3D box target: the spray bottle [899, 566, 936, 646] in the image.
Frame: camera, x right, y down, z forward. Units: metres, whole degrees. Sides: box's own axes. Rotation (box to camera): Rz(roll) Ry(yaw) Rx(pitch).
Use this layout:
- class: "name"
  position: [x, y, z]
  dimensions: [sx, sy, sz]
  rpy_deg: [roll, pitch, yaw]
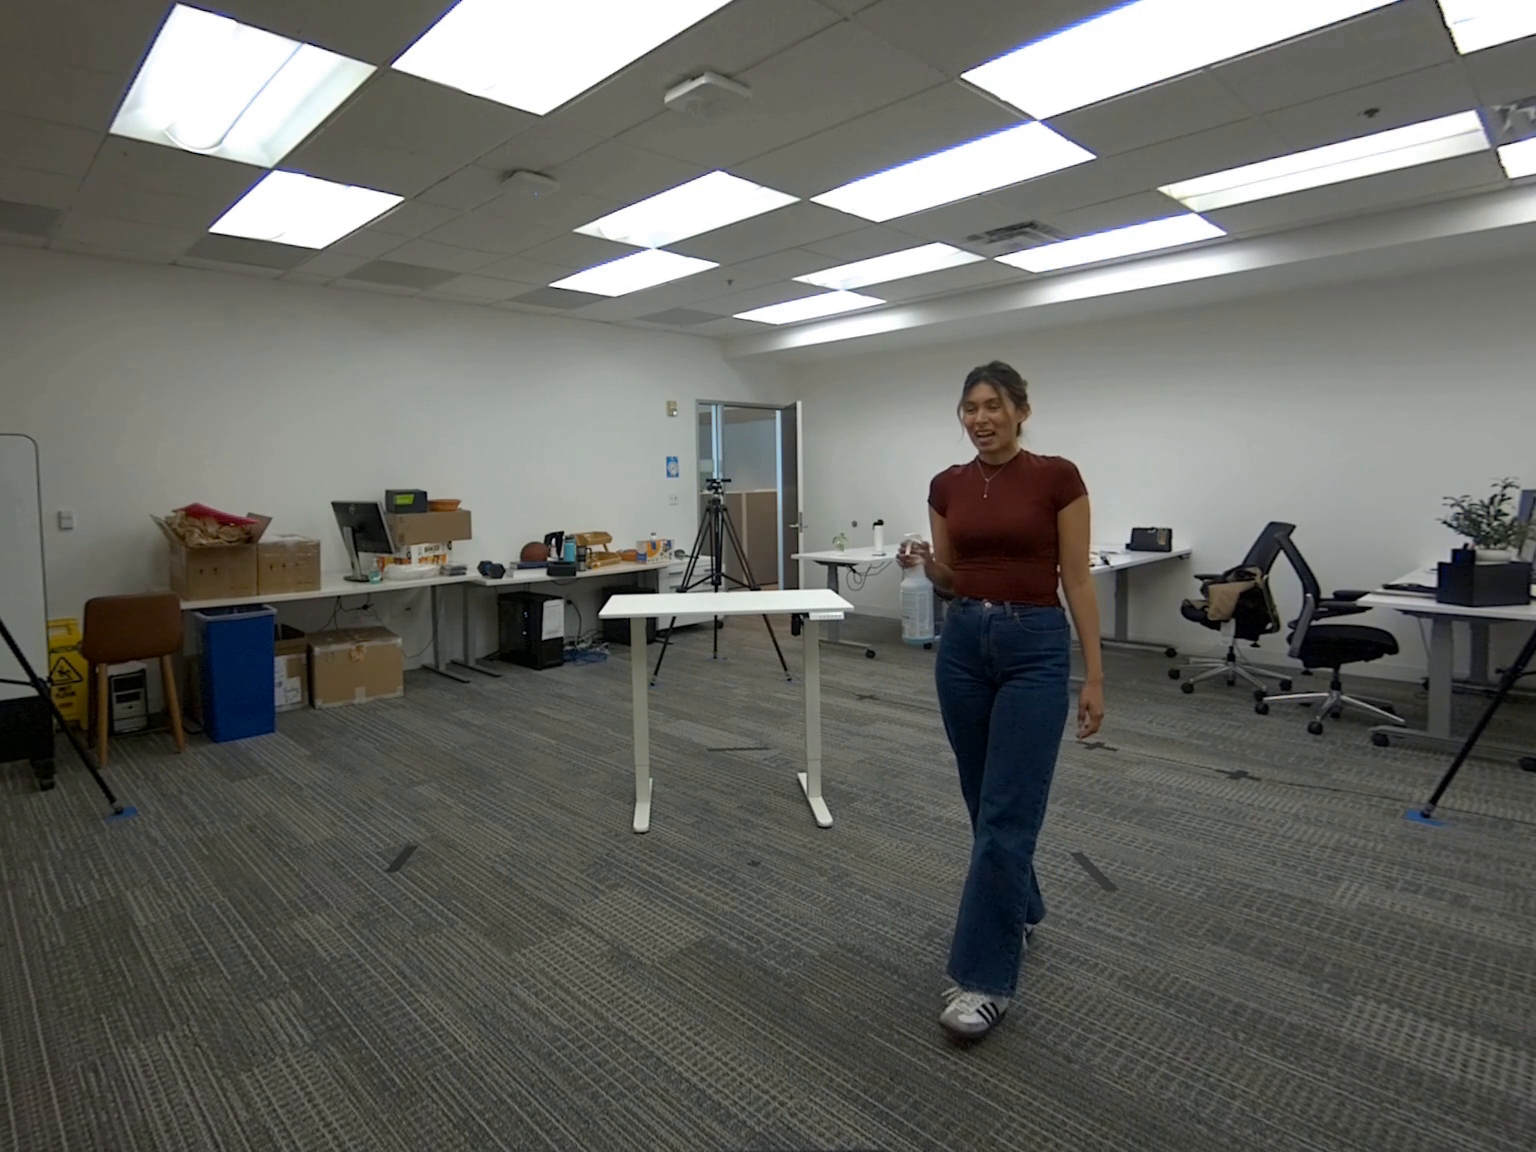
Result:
- class: "spray bottle"
  position: [0.413, 0.033, 2.291]
  dimensions: [0.088, 0.296, 0.089]
  rpy_deg: [-6, 7, -28]
